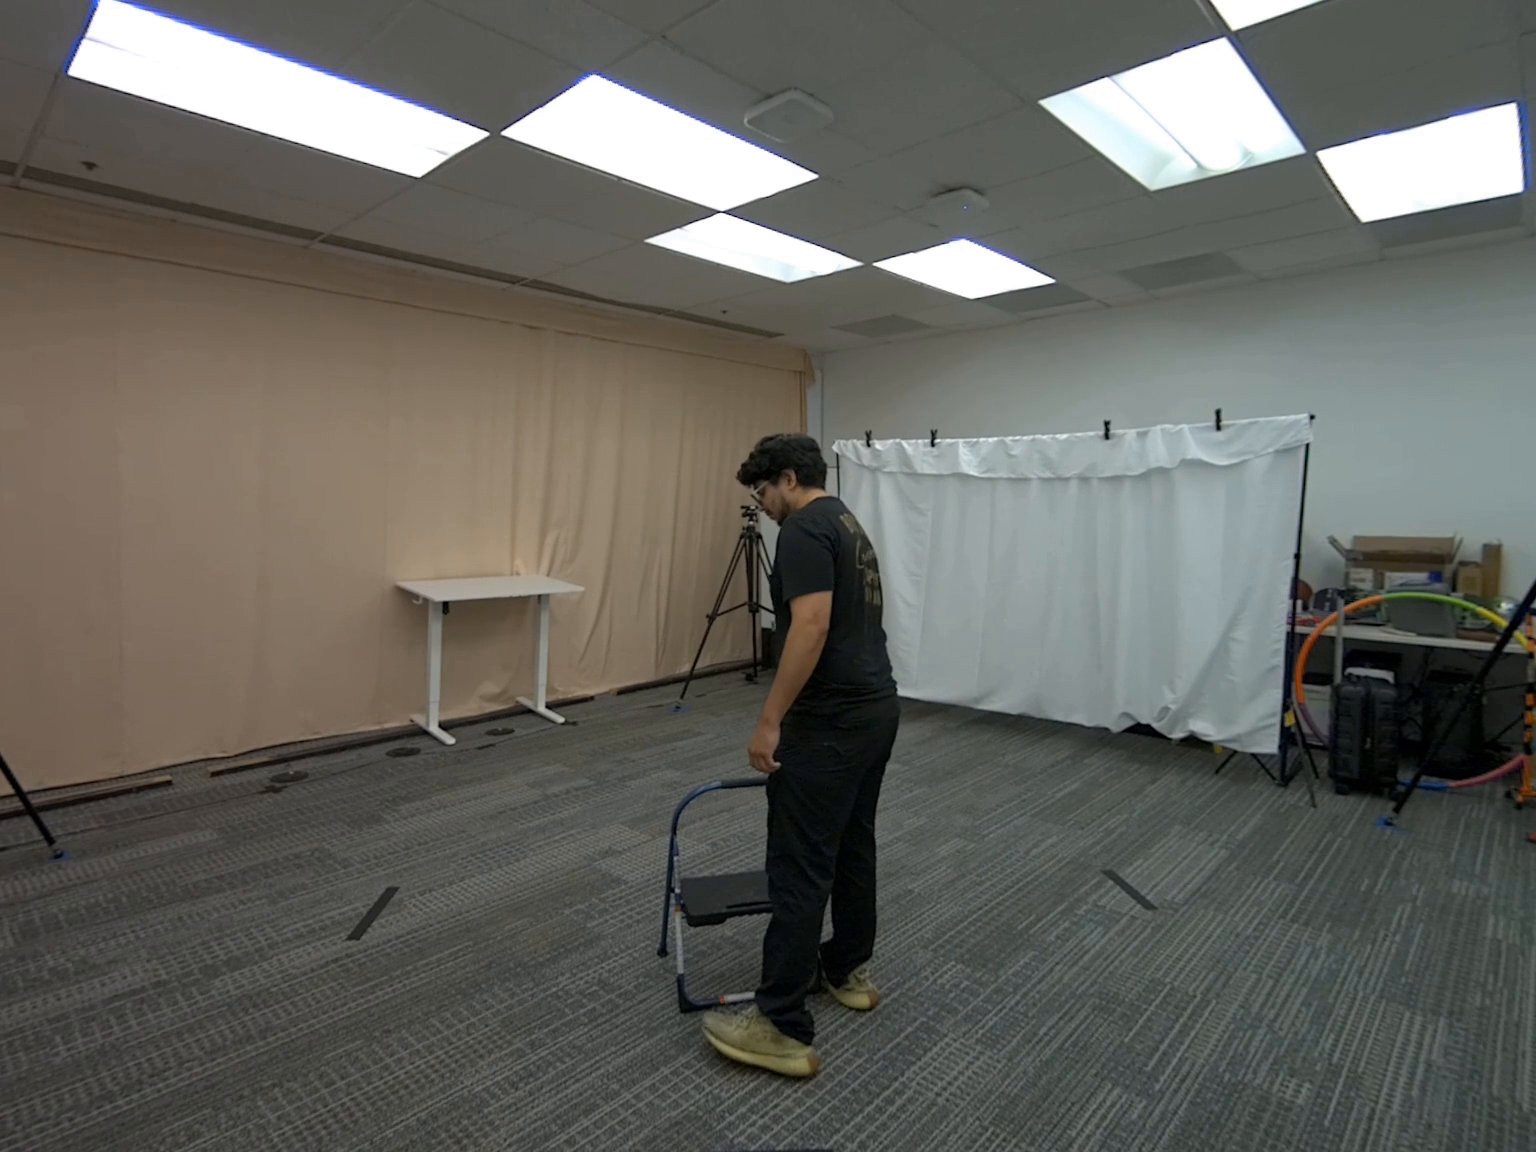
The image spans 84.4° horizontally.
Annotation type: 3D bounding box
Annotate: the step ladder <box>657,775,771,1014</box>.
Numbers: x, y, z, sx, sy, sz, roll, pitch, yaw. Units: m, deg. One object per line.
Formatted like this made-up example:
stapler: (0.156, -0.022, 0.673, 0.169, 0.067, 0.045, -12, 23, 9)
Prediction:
step ladder: (-0.095, 0.882, 2.501, 0.424, 0.605, 0.355, -1, 3, -15)
